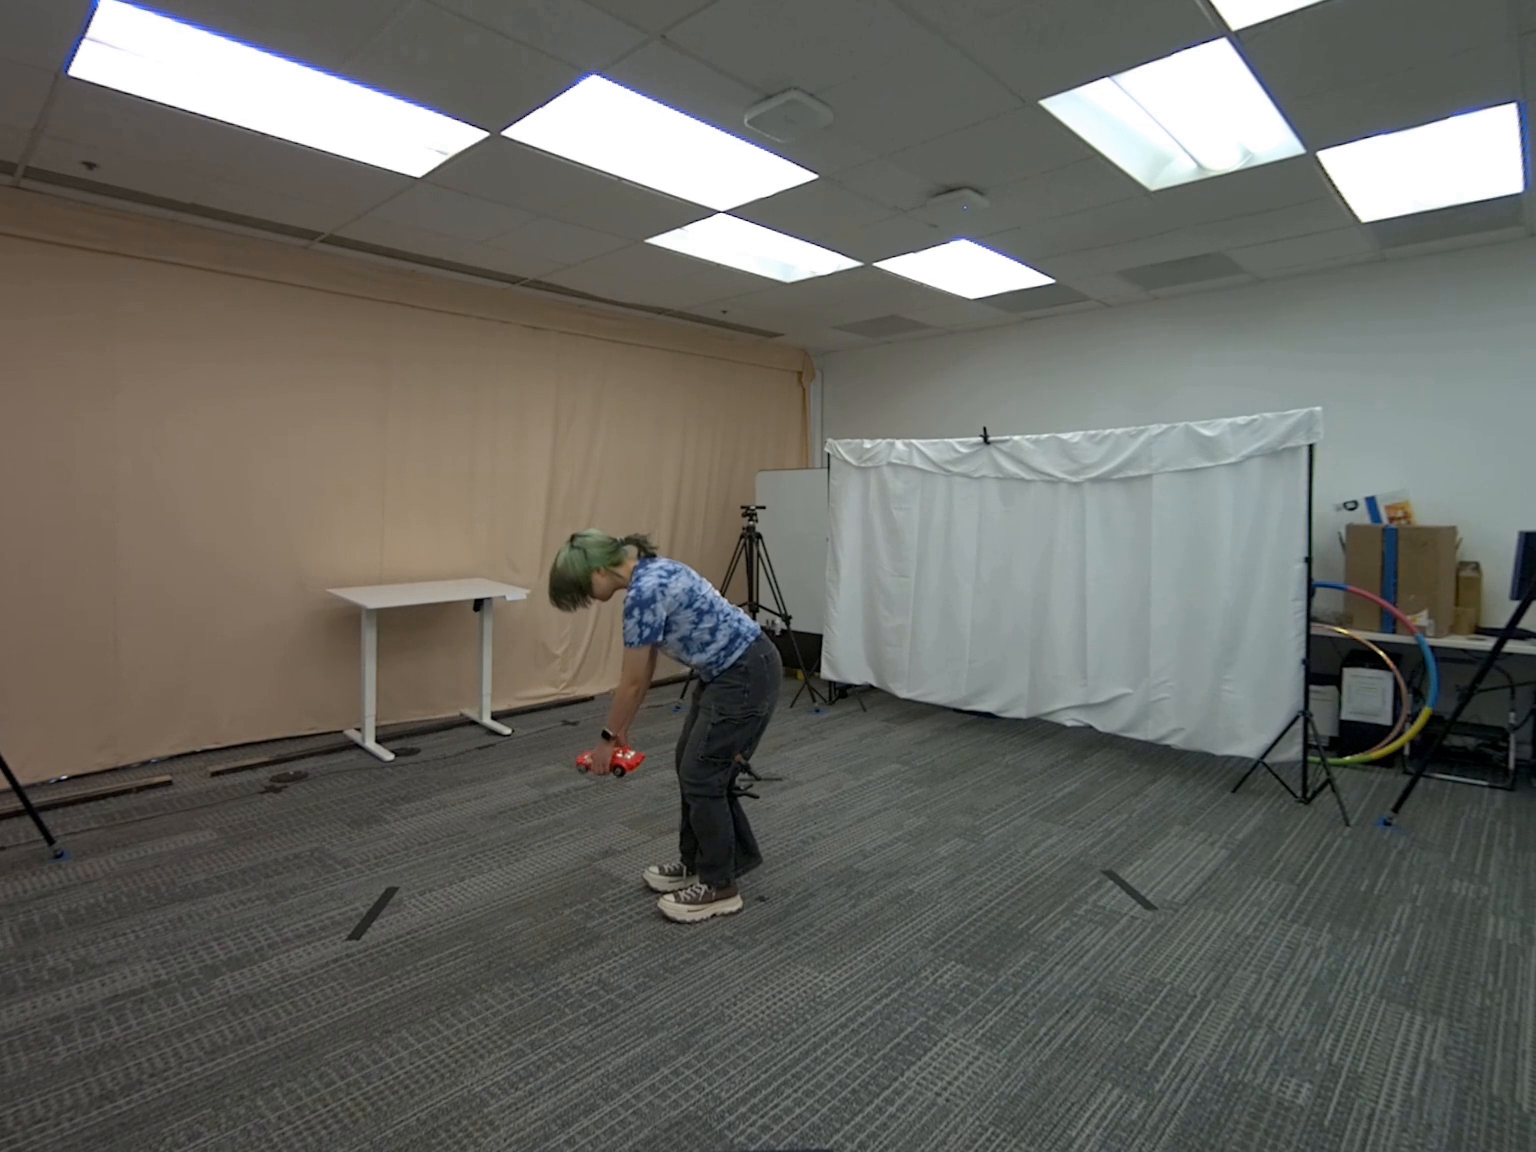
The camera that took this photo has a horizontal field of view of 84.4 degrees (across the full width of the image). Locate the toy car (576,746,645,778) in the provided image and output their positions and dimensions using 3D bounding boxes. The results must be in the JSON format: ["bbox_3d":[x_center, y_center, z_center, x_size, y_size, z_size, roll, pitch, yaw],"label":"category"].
[{"bbox_3d":[-0.548,0.667,2.980,0.259,0.083,0.128,-13,6,20],"label":"toy car"}]
